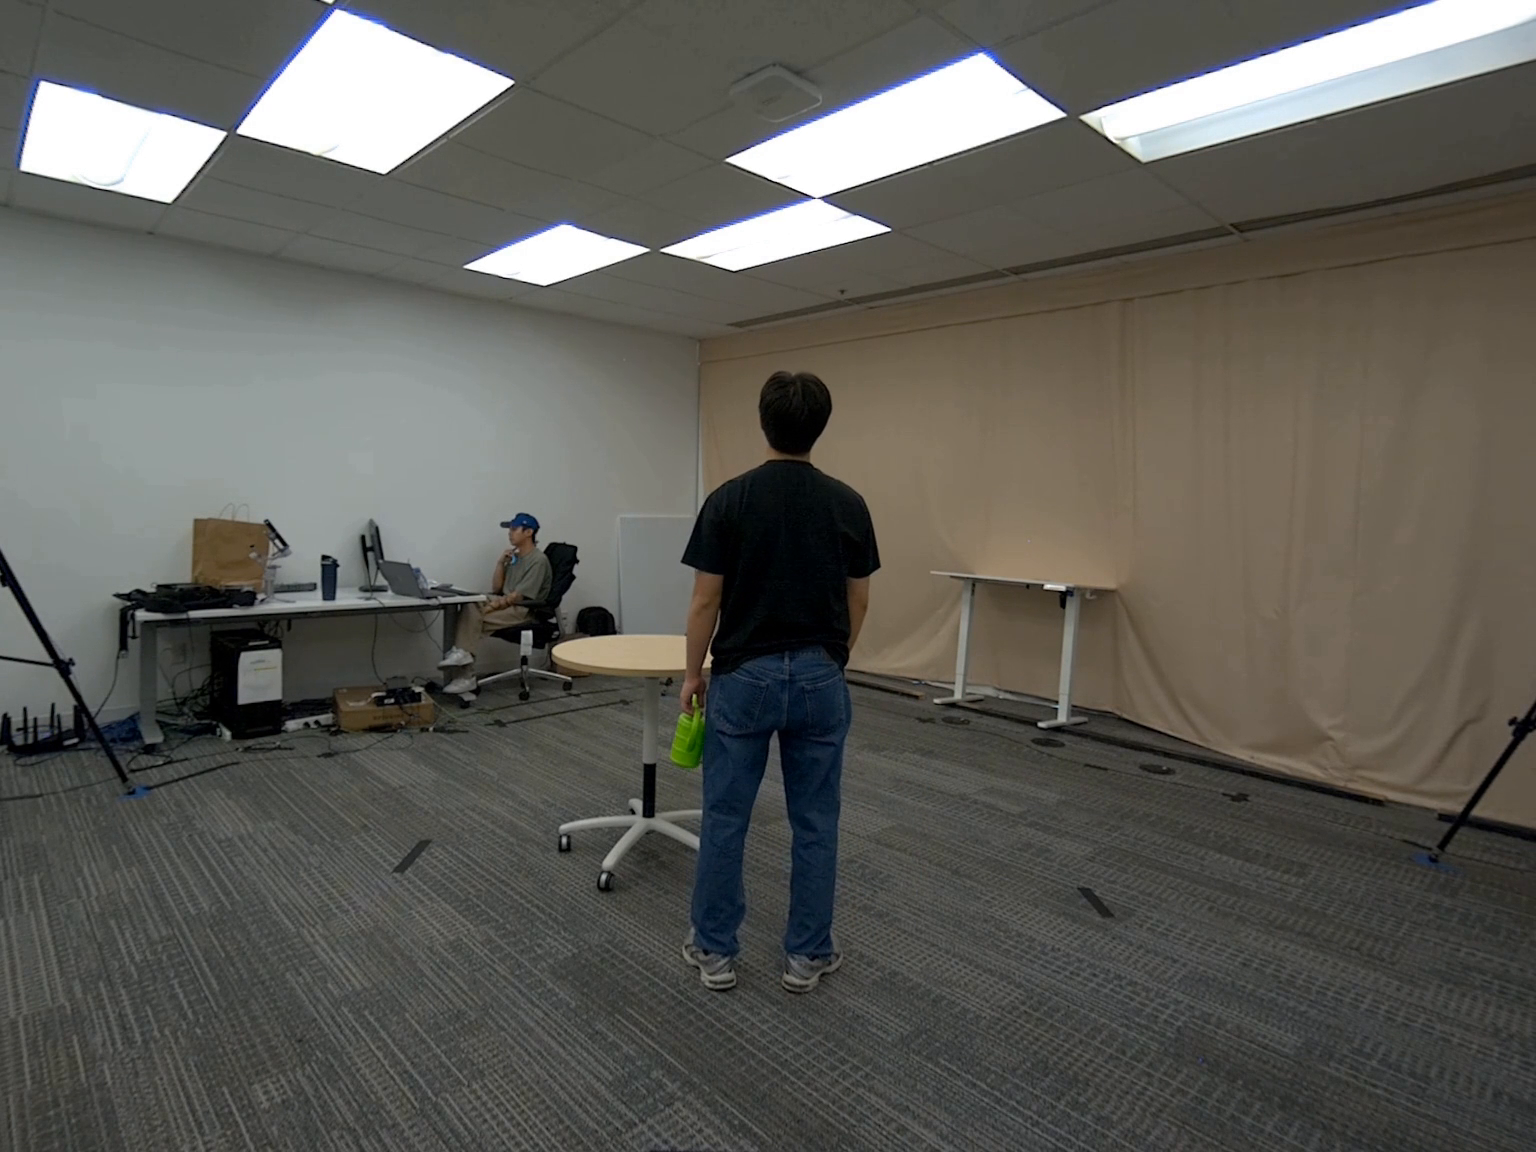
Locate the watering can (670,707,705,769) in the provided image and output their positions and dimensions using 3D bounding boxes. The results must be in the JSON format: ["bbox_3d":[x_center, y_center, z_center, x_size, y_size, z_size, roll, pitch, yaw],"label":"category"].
[{"bbox_3d":[-0.224,0.475,2.577,0.099,0.176,0.276,13,2,6],"label":"watering can"}]
